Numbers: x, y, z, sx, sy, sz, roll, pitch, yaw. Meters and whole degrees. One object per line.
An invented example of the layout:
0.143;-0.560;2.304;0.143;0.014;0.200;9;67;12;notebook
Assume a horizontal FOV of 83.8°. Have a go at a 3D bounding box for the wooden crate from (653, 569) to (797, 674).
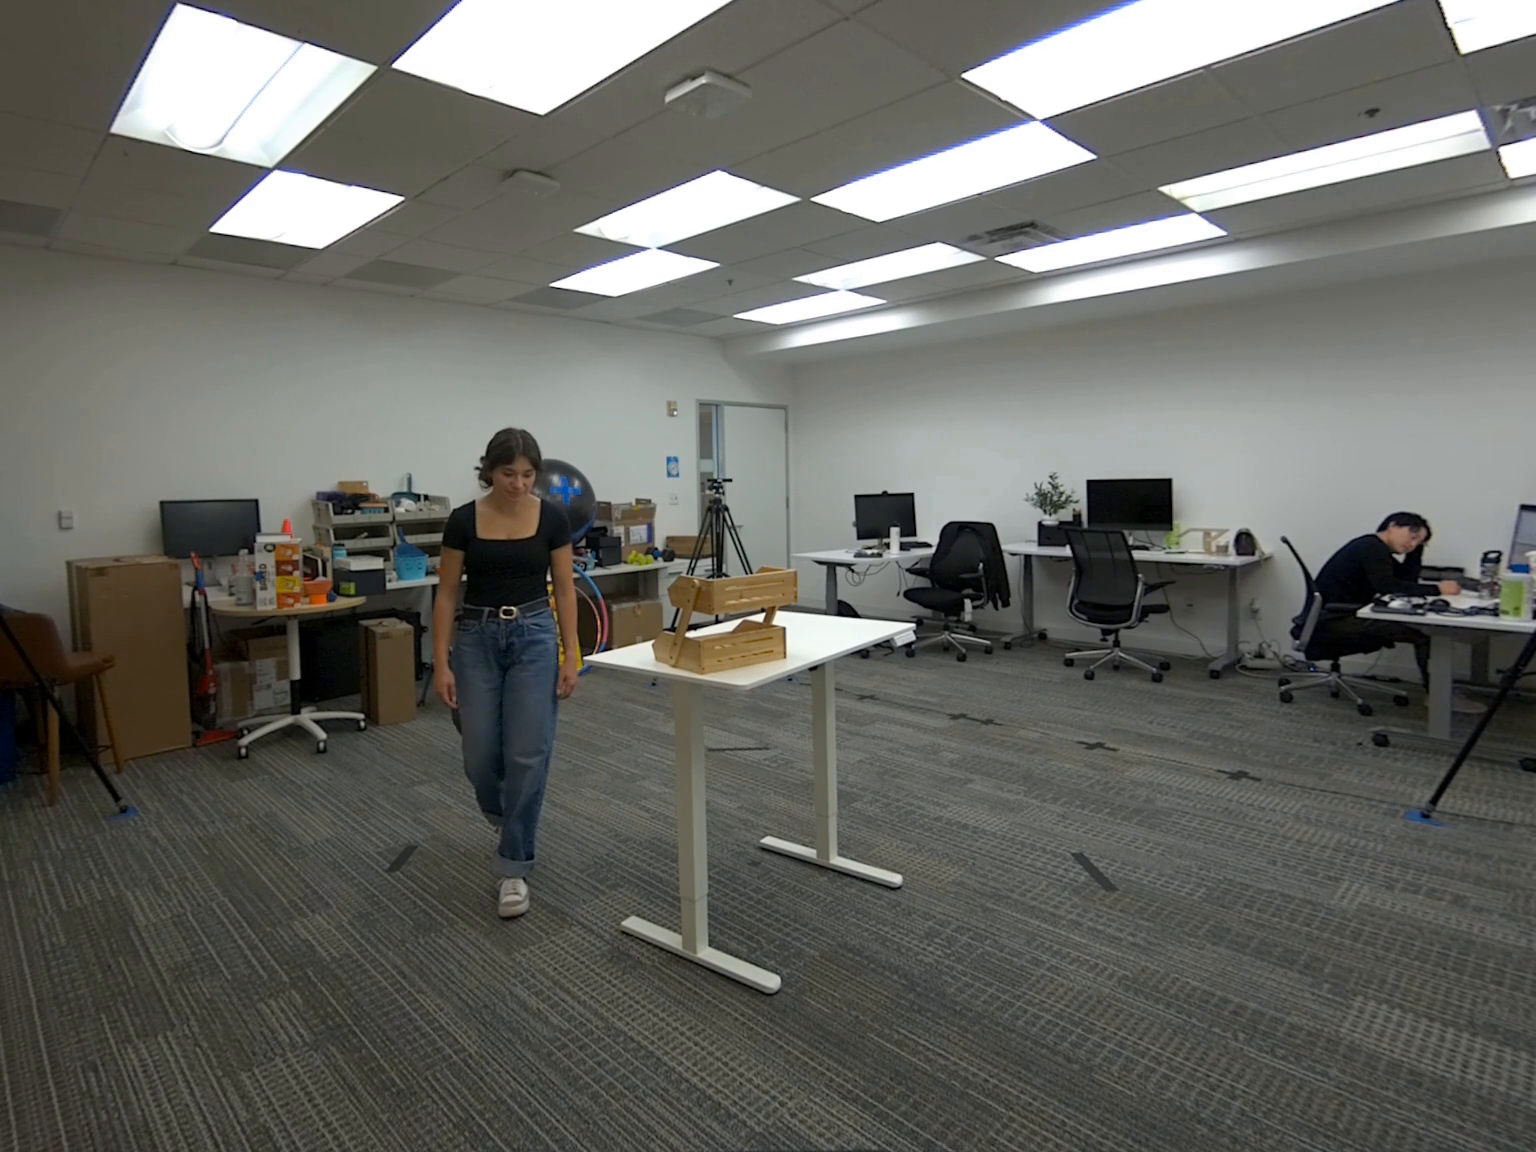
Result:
-0.122;0.111;2.438;0.316;0.272;0.311;-6;8;-38;wooden crate
